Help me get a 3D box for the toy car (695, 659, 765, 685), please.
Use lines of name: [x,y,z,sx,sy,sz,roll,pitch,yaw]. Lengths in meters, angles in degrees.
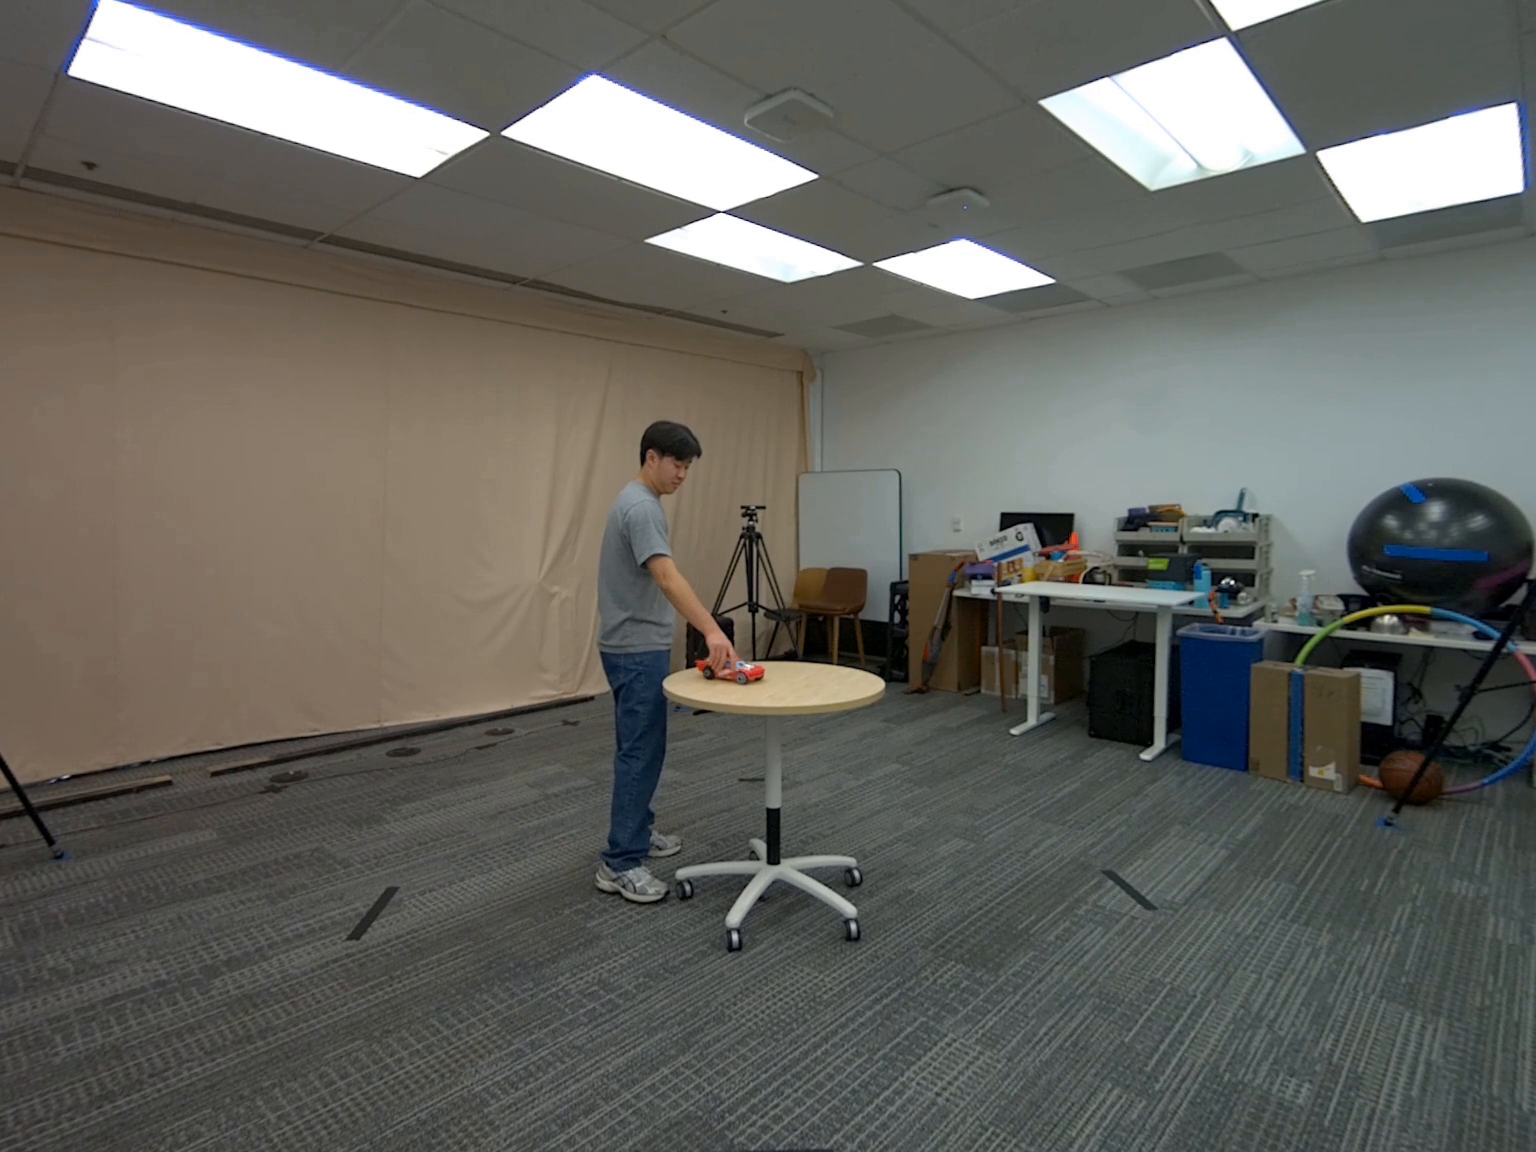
toy car: [-0.134,0.332,2.965,0.263,0.083,0.126,16,13,35]
